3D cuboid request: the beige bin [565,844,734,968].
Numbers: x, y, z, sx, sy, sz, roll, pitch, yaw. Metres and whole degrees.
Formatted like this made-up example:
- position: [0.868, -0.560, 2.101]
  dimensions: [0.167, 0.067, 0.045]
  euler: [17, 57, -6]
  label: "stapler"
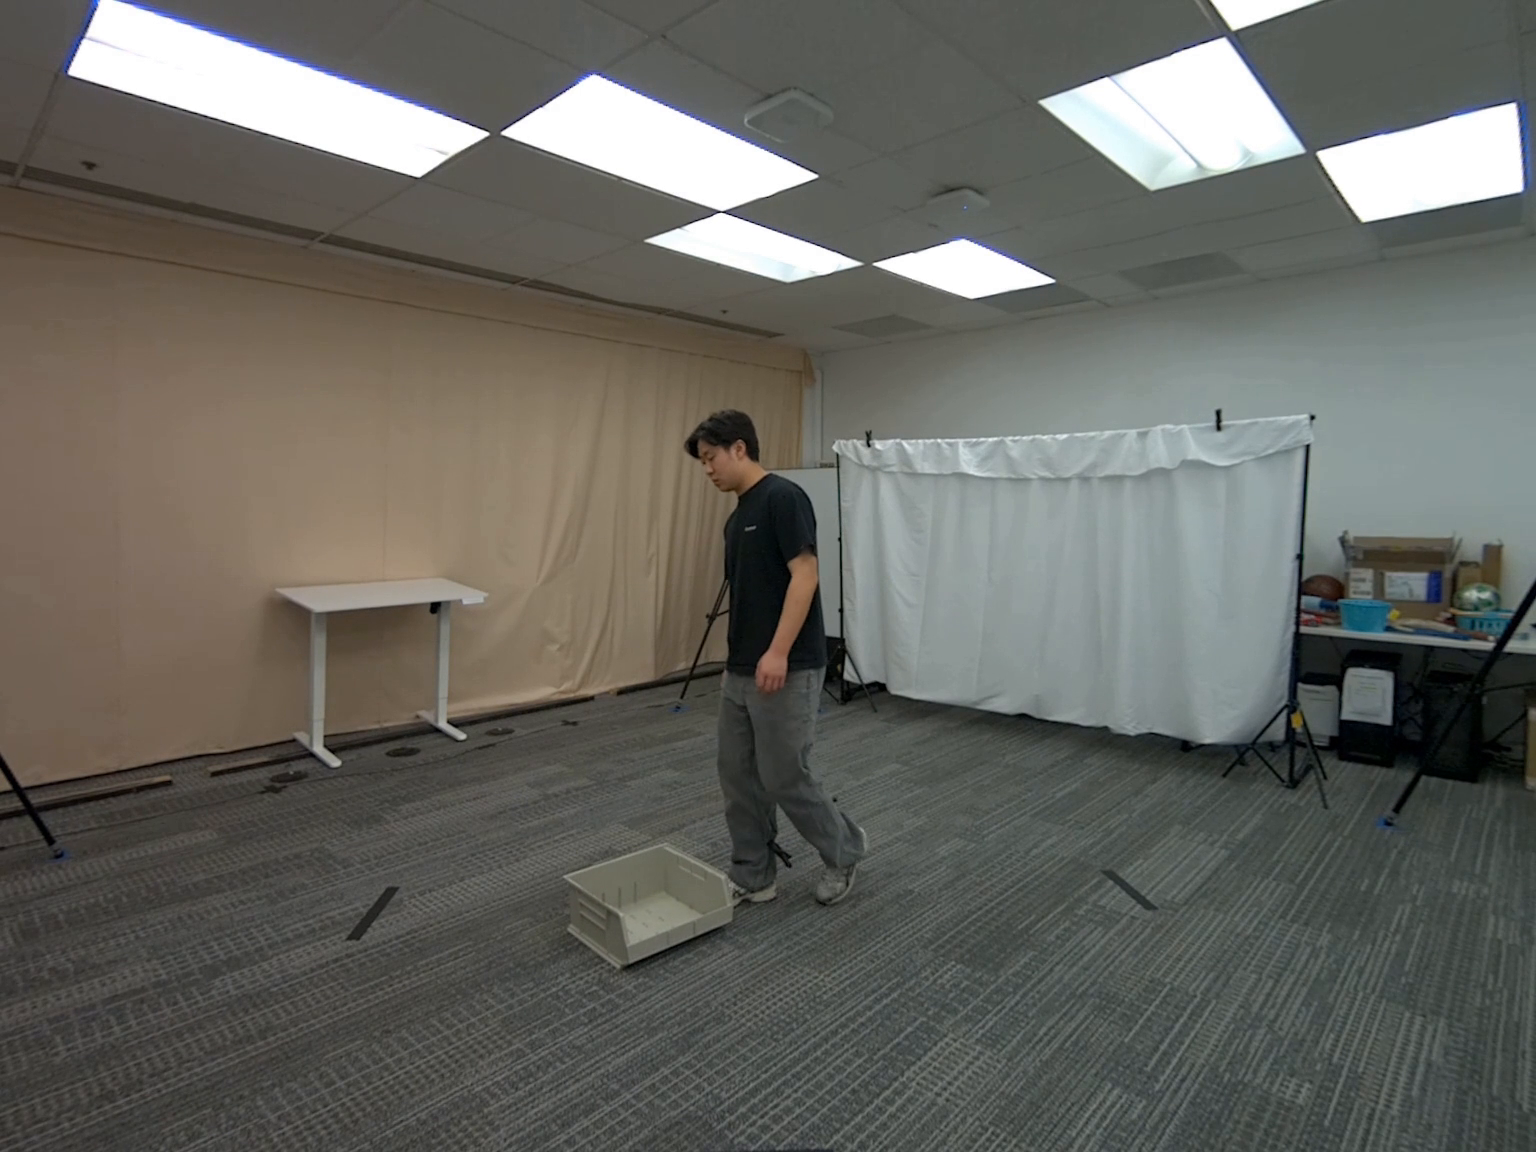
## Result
- position: [-0.391, 1.077, 2.760]
  dimensions: [0.409, 0.188, 0.390]
  euler: [-5, 5, -41]
  label: "beige bin"
